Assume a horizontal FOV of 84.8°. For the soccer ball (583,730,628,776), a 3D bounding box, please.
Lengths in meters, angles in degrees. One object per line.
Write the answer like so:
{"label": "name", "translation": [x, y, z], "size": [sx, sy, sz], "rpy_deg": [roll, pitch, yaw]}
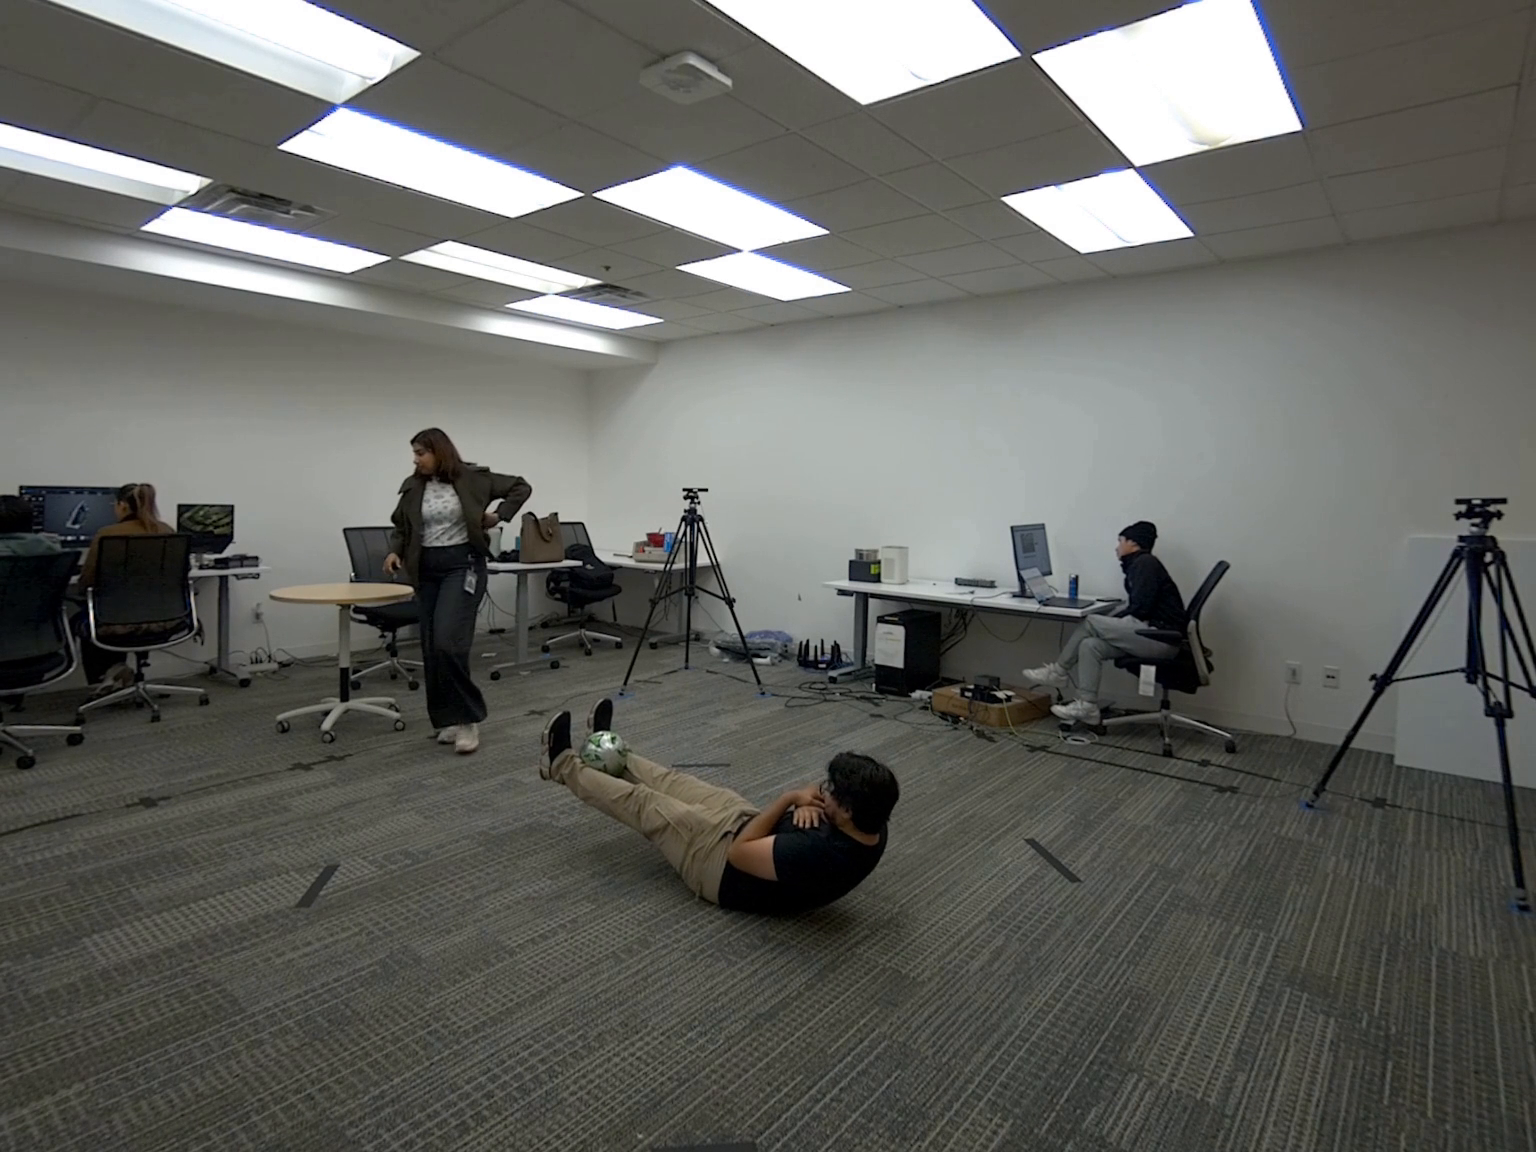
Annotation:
{"label": "soccer ball", "translation": [-0.668, 0.708, 3.346], "size": [0.187, 0.187, 0.188], "rpy_deg": [0, 4, -2]}
